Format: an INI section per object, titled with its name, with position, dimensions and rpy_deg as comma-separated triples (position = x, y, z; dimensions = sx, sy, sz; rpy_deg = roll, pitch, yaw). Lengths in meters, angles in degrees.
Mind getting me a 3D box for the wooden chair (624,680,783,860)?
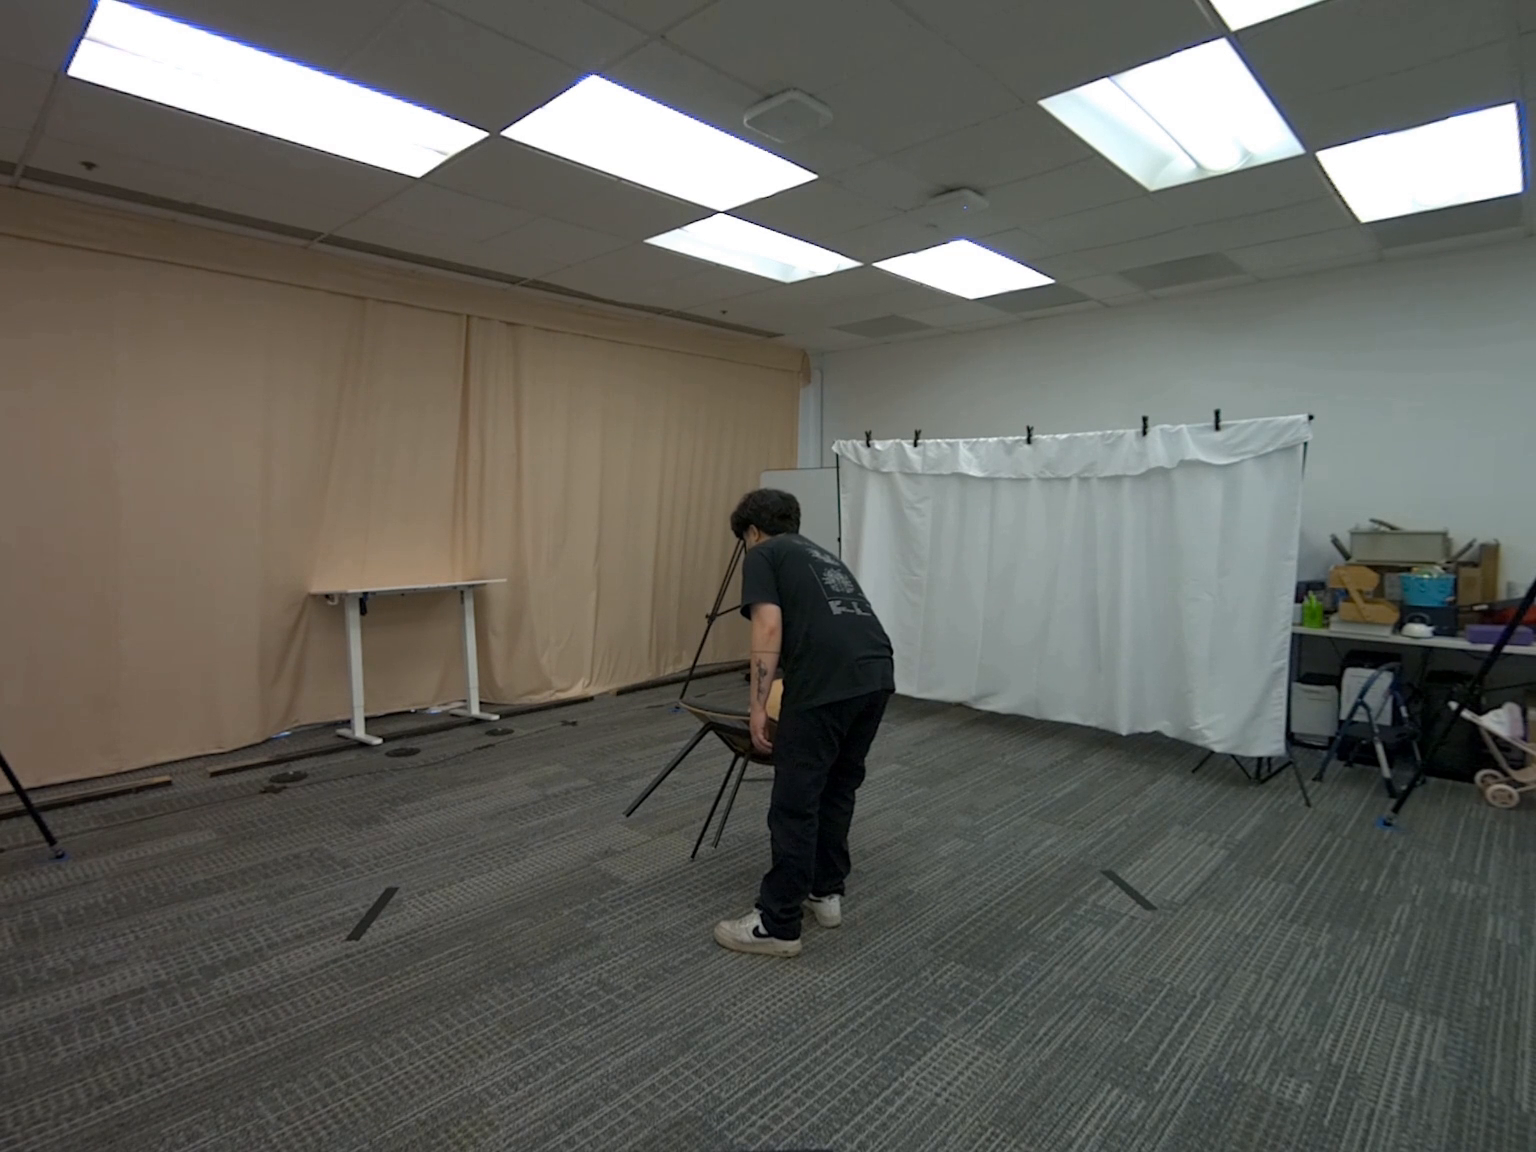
[wooden chair]
position = -0.083, 0.649, 3.201
dimensions = 0.494, 0.877, 0.506
rpy_deg = 3, -37, 41
